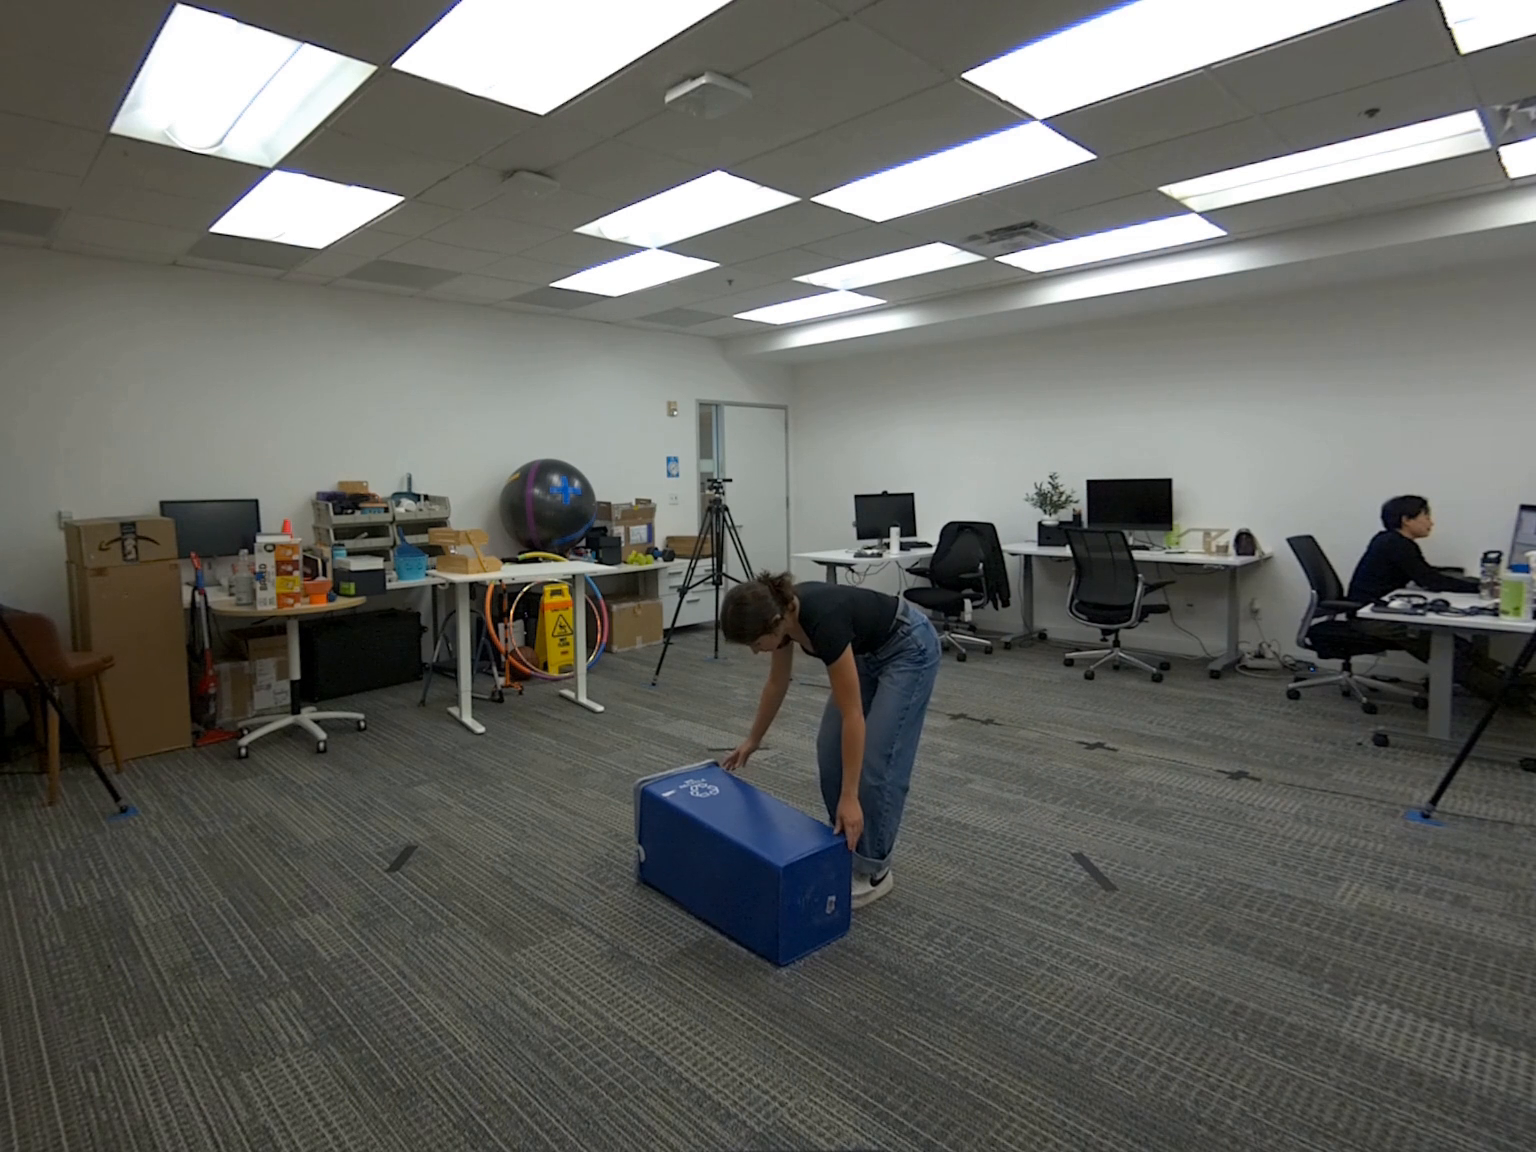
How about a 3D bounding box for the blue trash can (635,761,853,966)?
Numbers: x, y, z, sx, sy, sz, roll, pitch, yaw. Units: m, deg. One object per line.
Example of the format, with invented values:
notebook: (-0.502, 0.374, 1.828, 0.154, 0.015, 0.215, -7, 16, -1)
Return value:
blue trash can: (-0.089, 0.918, 2.782, 0.368, 0.372, 0.737, -4, 10, -39)
